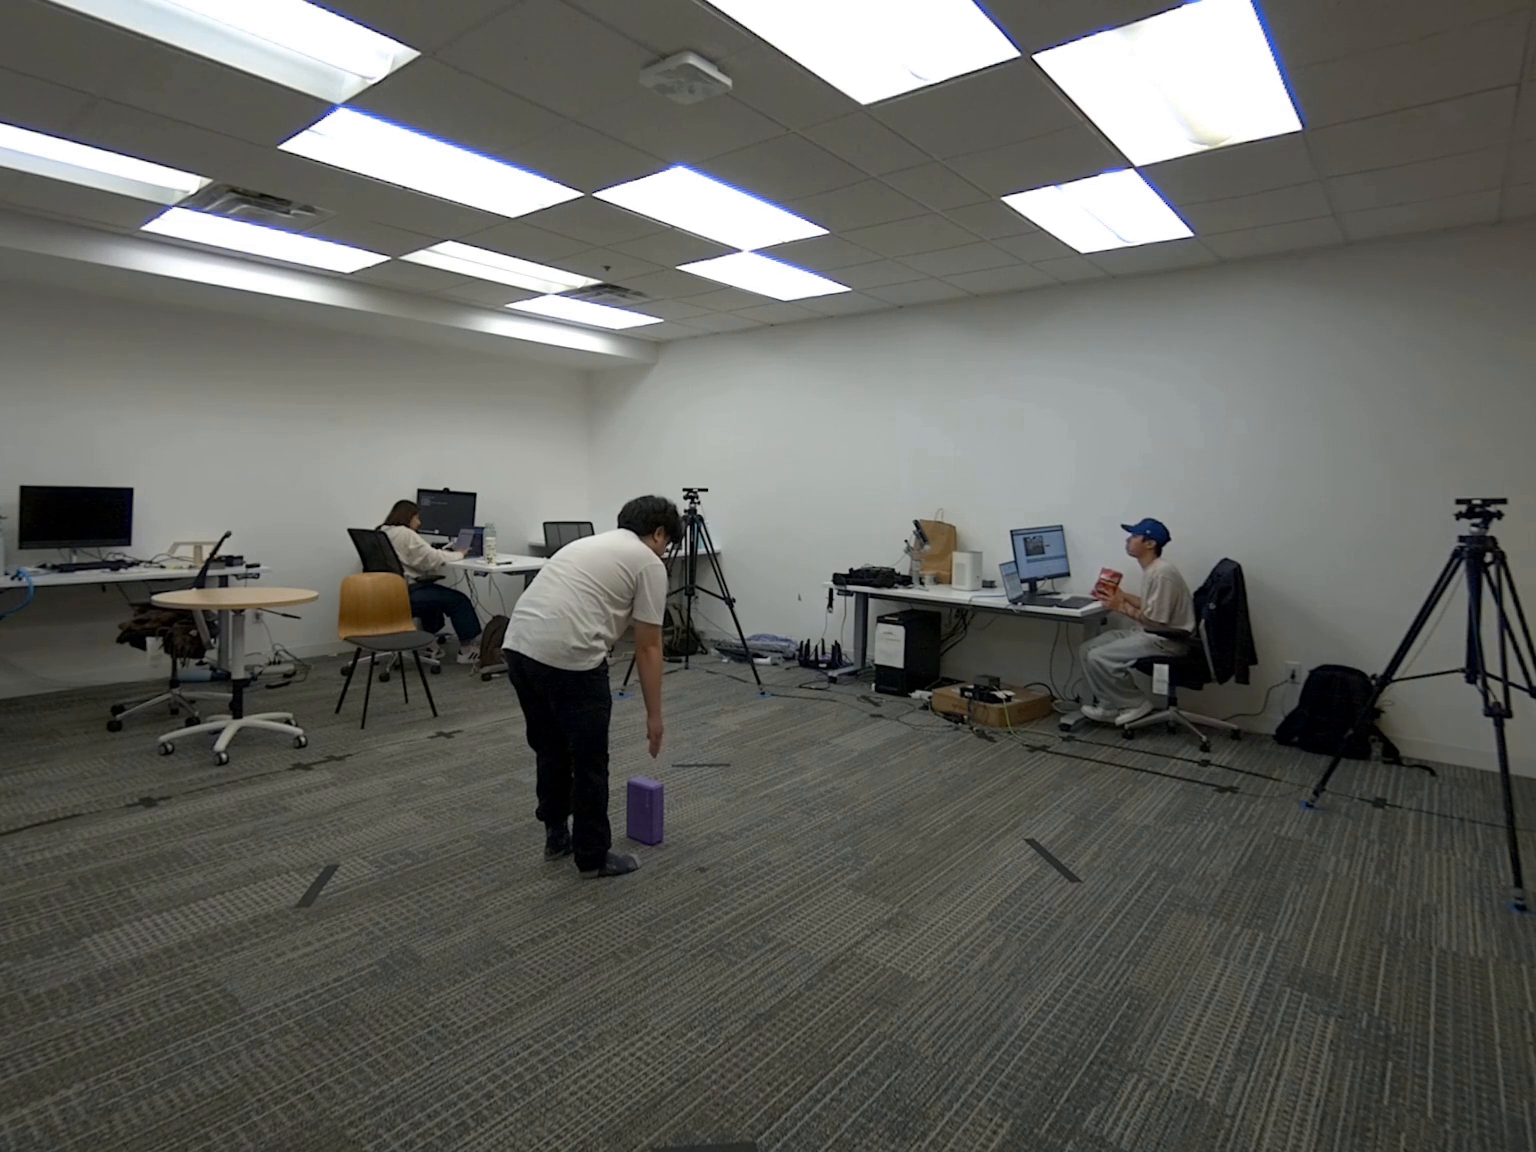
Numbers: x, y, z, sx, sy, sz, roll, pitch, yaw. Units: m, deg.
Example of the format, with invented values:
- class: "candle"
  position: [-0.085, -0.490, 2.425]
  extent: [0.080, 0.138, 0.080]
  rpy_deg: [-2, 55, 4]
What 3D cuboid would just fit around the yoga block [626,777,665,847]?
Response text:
- class: "yoga block"
  position: [-0.501, 0.925, 3.370]
  extent: [0.154, 0.229, 0.074]
  rpy_deg: [2, 3, 39]
